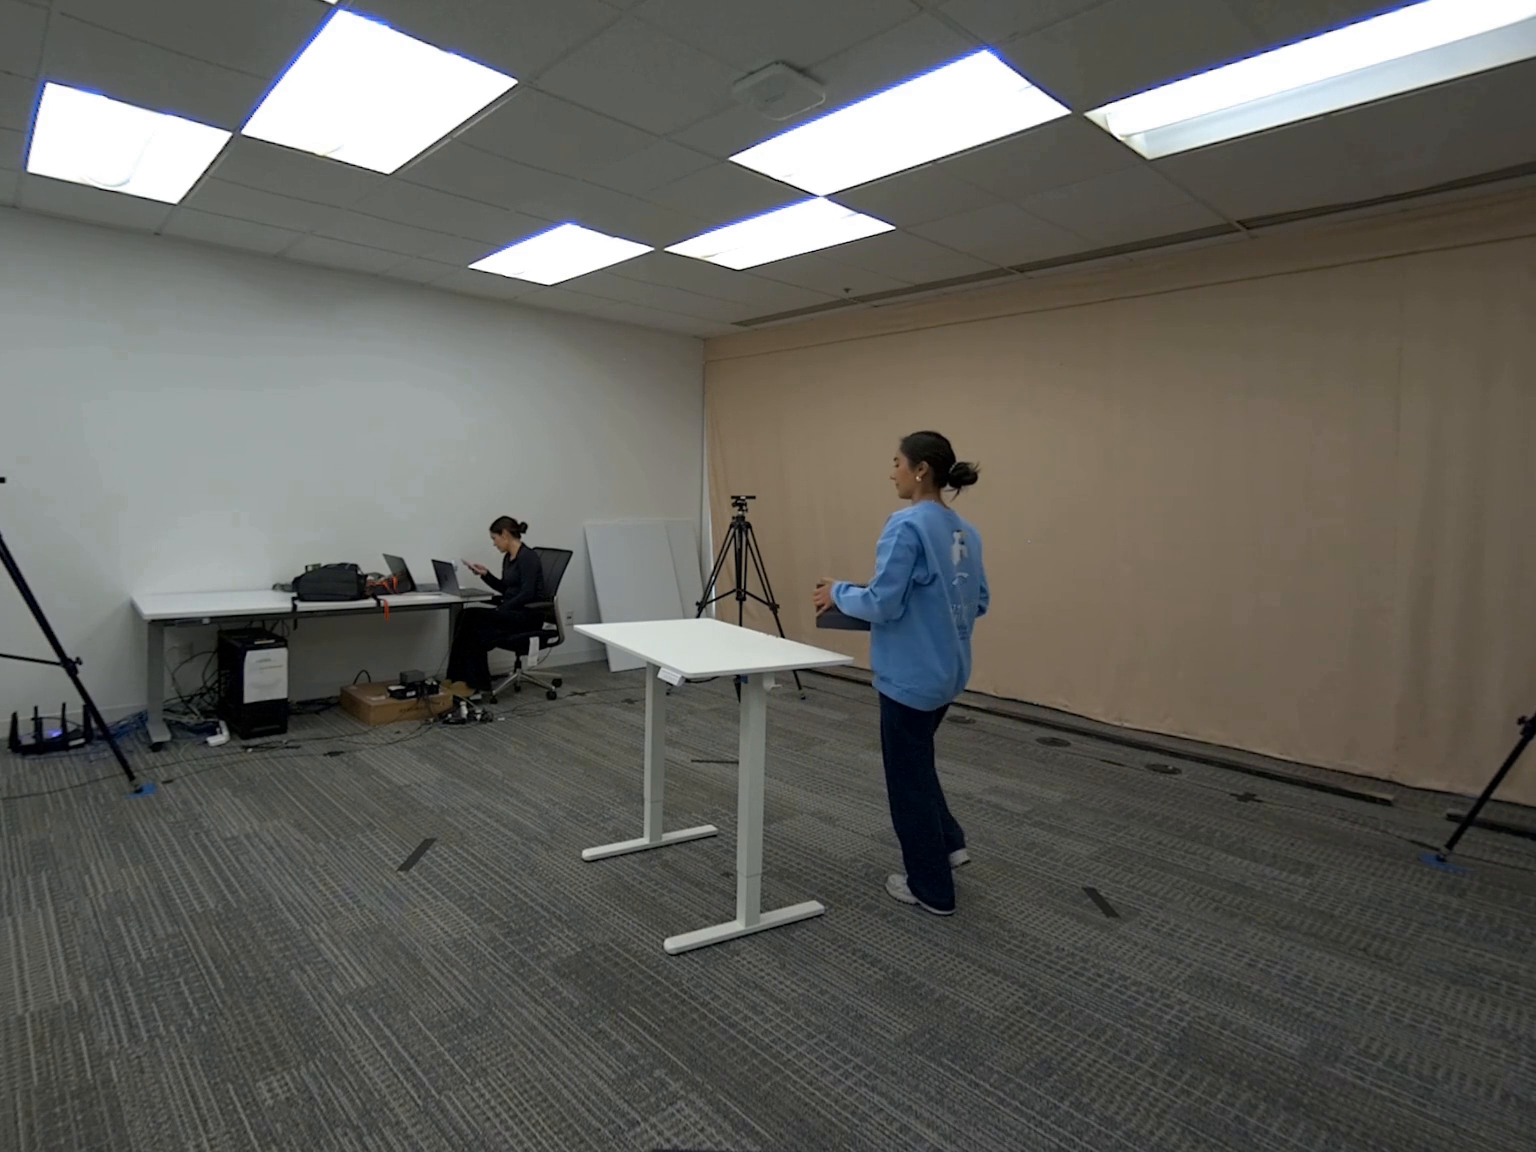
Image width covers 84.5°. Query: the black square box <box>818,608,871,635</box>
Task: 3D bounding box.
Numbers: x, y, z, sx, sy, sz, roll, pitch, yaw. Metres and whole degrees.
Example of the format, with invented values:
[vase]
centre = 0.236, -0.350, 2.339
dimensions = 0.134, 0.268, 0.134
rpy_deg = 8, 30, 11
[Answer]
[black square box]
centre = 0.323, 0.116, 3.026
dimensions = 0.221, 0.156, 0.223
rpy_deg = 2, 1, 26
